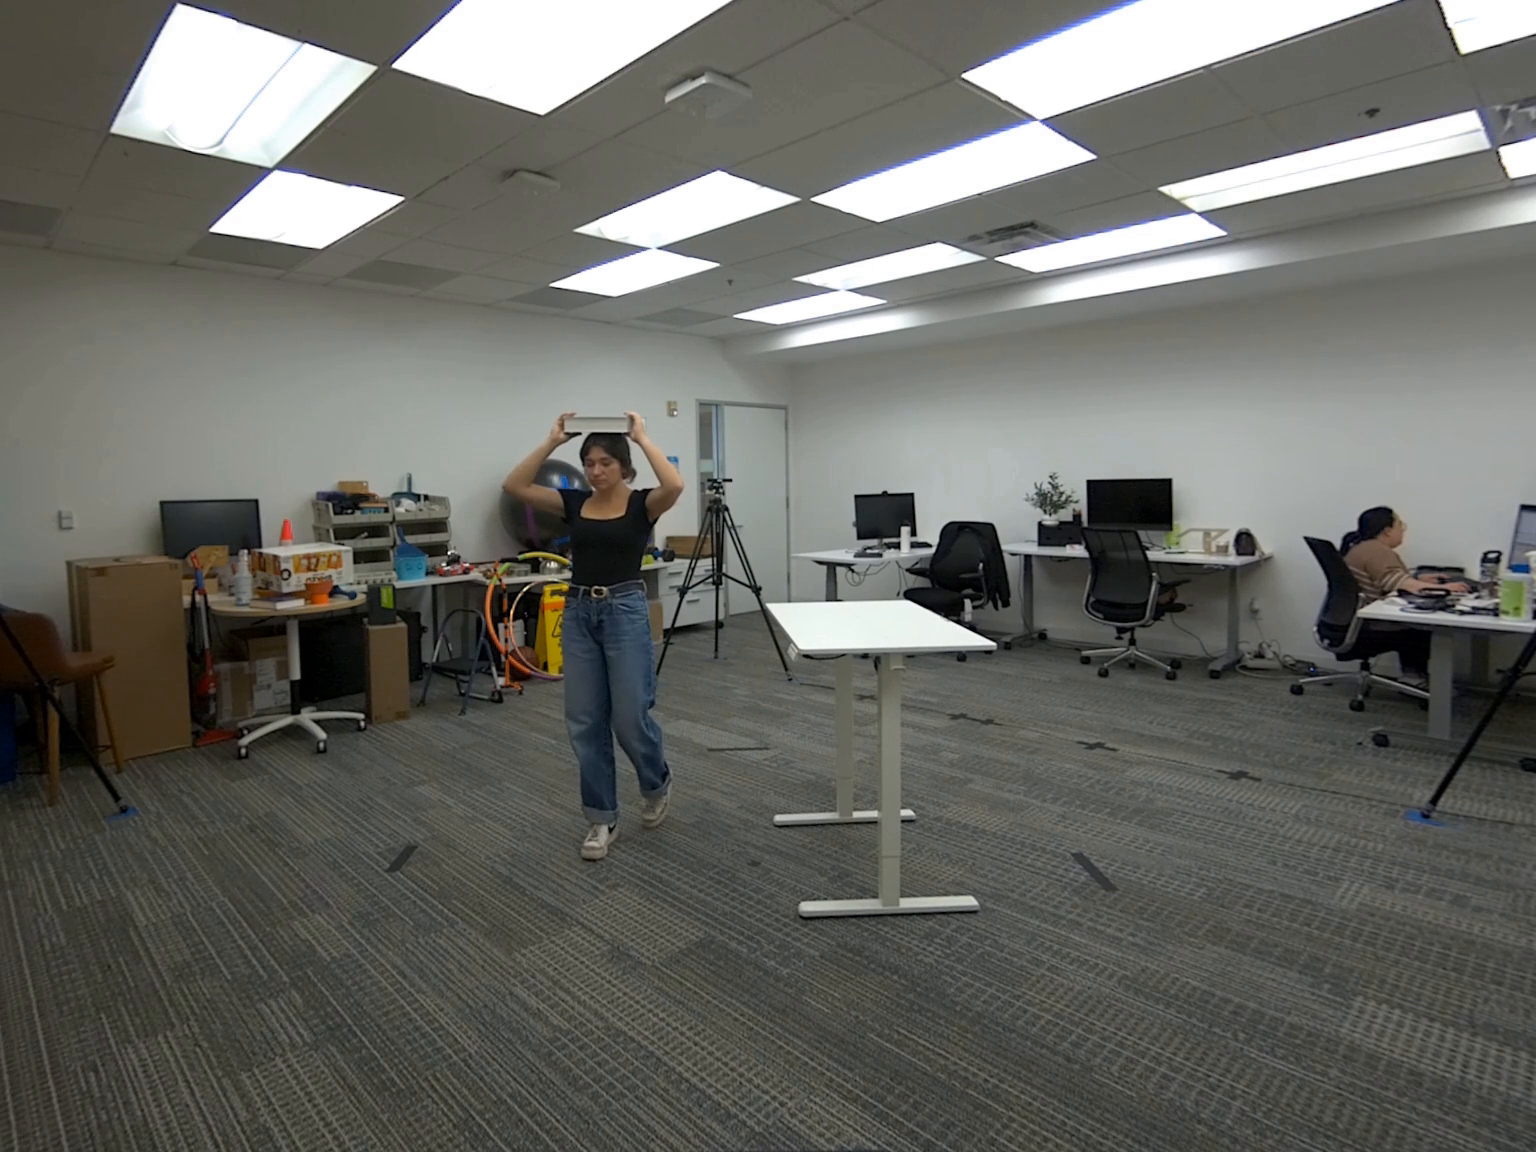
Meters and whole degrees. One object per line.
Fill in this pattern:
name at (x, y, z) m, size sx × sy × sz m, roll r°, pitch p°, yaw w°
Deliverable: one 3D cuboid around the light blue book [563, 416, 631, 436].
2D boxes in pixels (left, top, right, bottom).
light blue book at (-0.605, -0.574, 3.224) m, size 0.265 × 0.058 × 0.190 m, roll 3°, pitch 9°, yaw 14°
